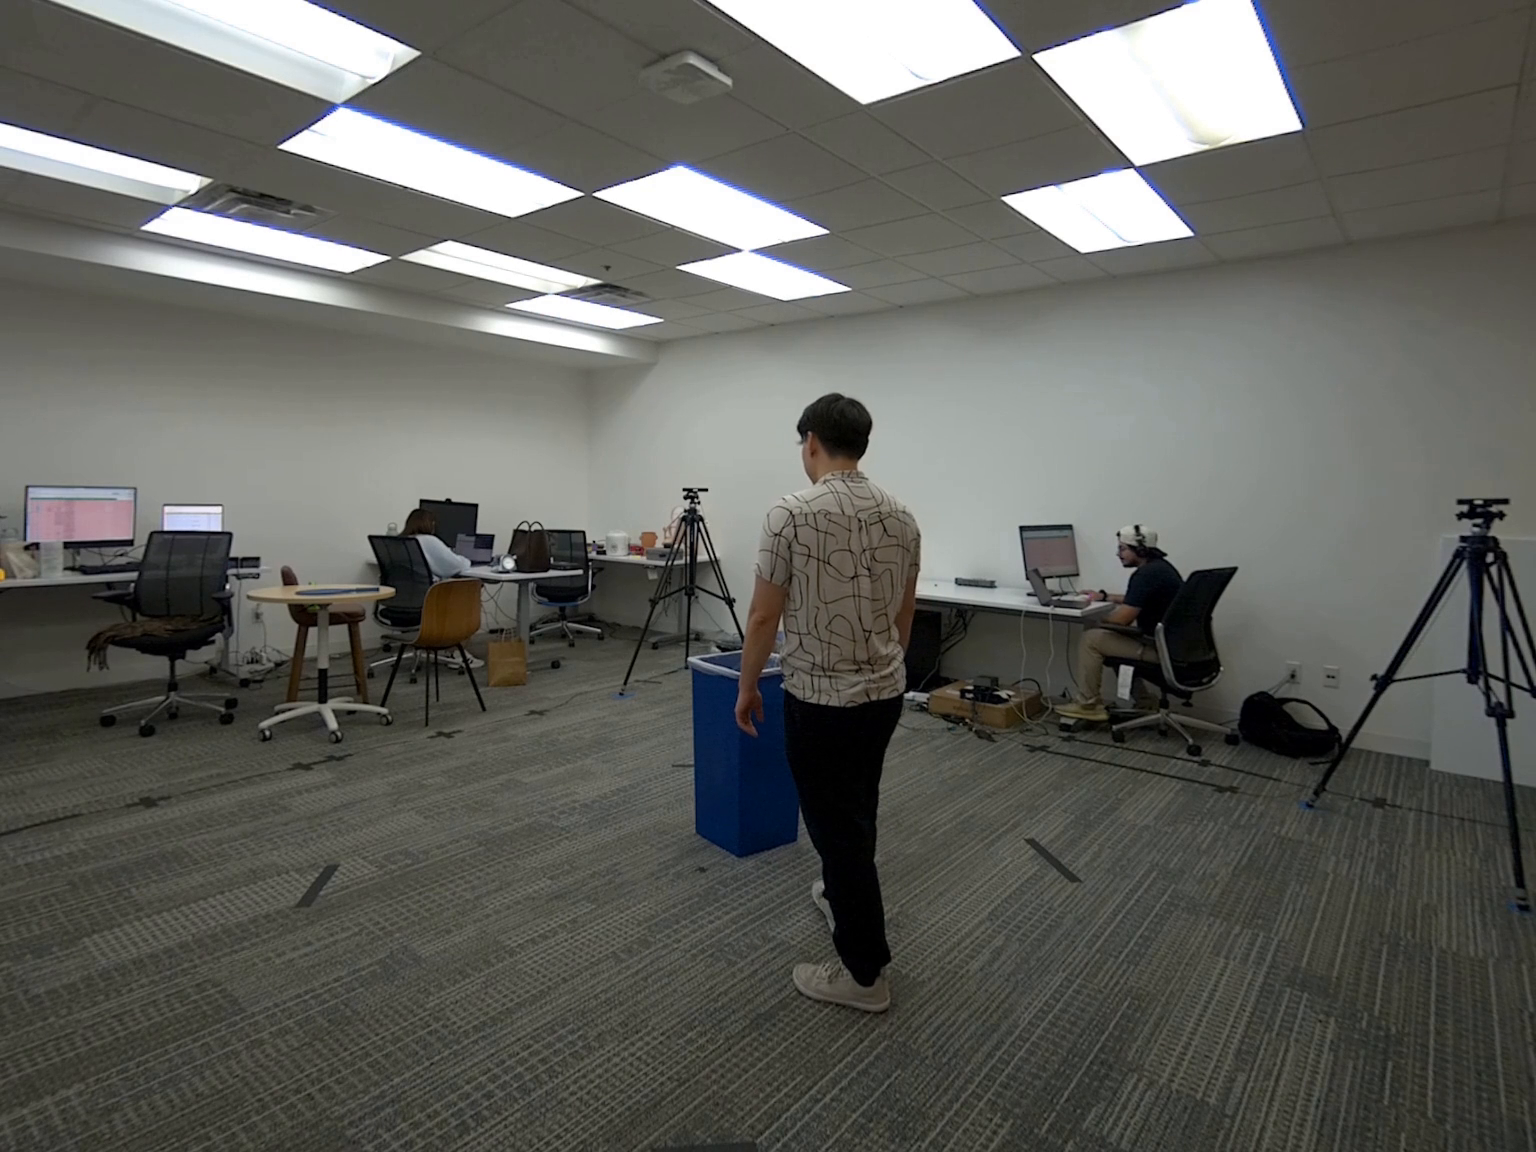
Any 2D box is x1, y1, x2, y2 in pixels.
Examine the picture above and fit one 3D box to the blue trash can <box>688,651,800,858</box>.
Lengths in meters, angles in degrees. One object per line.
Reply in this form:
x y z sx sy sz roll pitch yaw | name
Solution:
-0.100 0.689 3.394 0.363 0.712 0.390 -2 3 -39 | blue trash can
